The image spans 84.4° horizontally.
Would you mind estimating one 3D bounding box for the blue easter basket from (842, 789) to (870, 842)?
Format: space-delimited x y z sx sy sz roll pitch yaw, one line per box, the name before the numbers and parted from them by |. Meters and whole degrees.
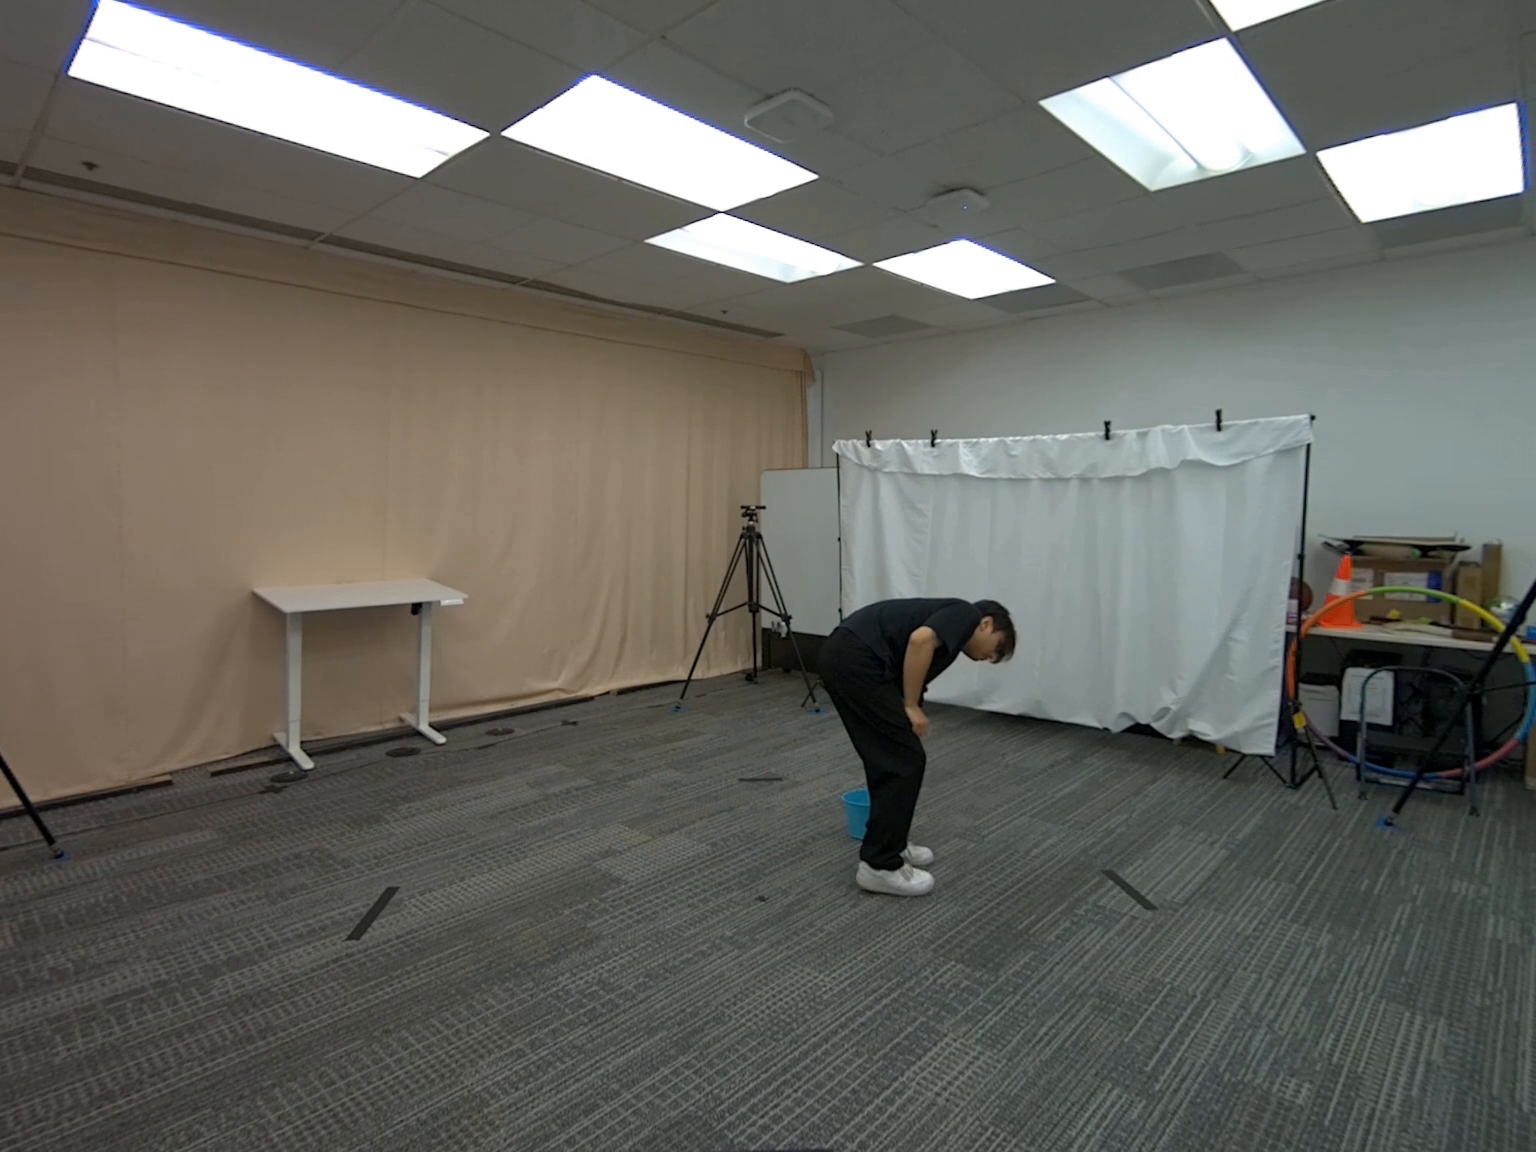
blue easter basket | 0.434 1.012 3.569 0.243 0.156 0.244 -3 3 -2
